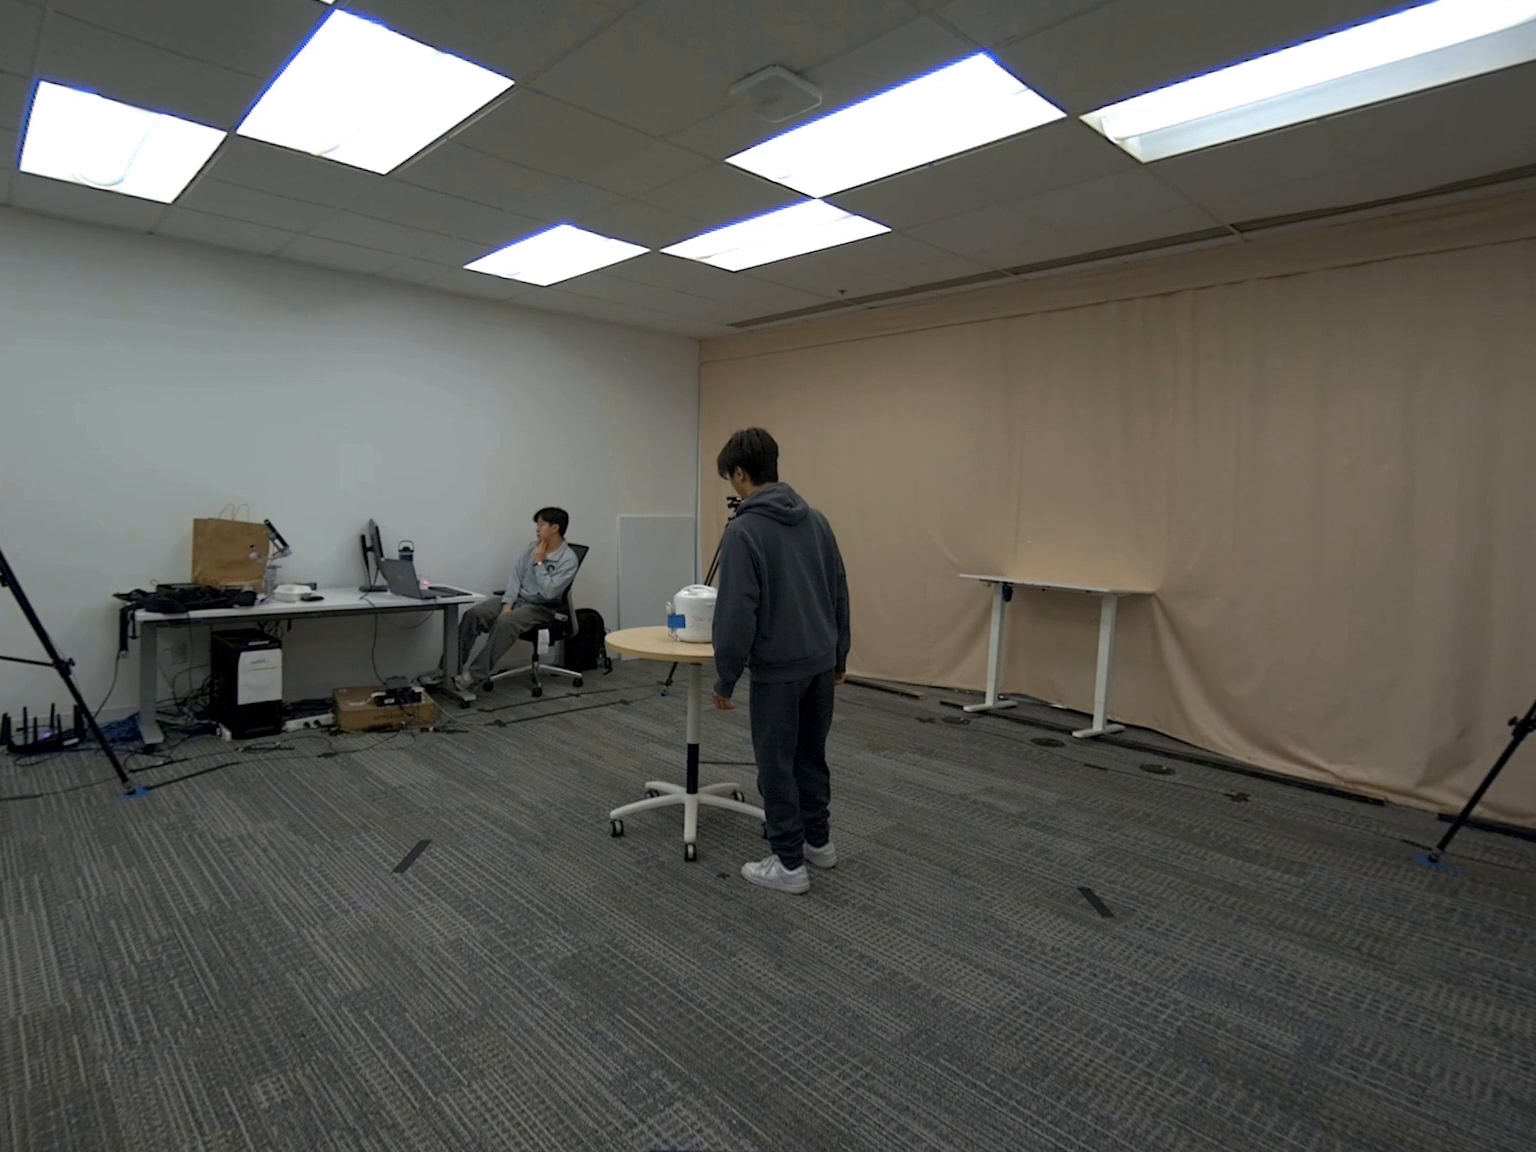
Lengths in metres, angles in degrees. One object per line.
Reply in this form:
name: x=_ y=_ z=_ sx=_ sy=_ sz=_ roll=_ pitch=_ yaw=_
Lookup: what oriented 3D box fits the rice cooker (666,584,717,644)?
rice cooker: x=-0.297 y=0.153 z=3.523 sx=0.225 sy=0.232 sz=0.214 roll=5 pitch=5 yaw=26
